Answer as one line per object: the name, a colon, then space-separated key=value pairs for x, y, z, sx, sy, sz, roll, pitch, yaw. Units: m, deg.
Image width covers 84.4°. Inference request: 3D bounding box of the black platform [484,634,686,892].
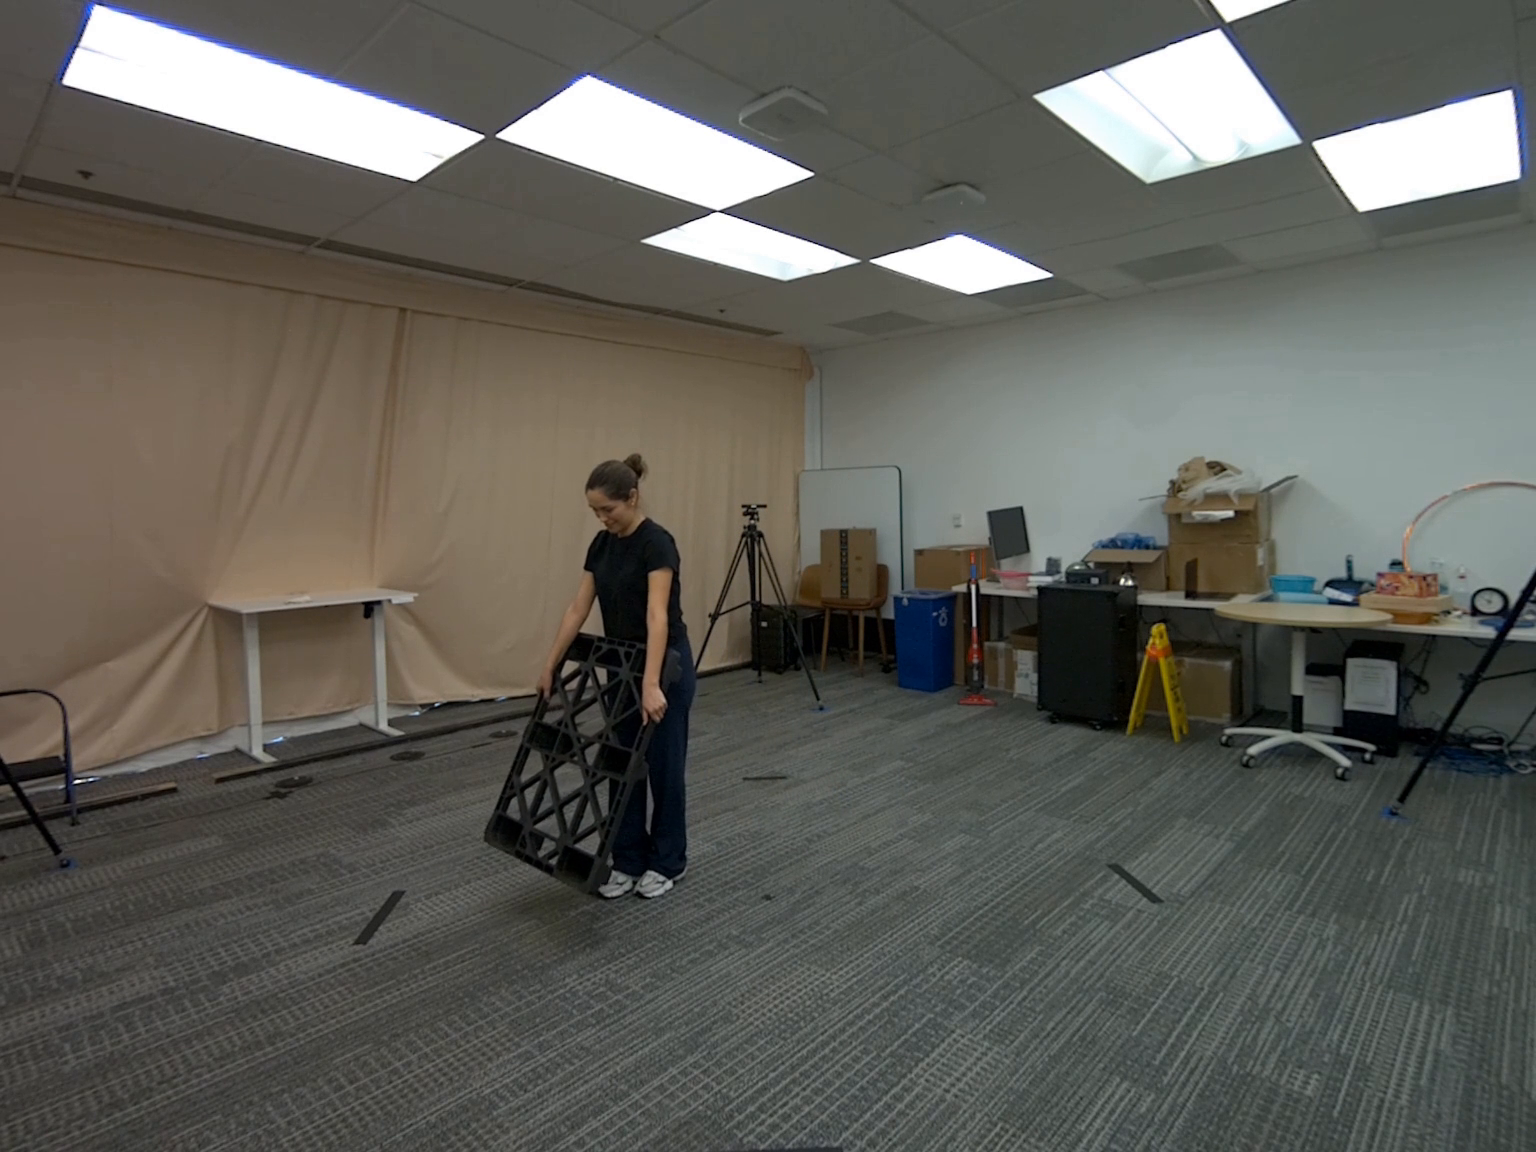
black platform: x=-0.613 y=0.614 z=2.918 sx=0.625 sy=0.808 sz=0.138 roll=5 pitch=-21 yaw=40
